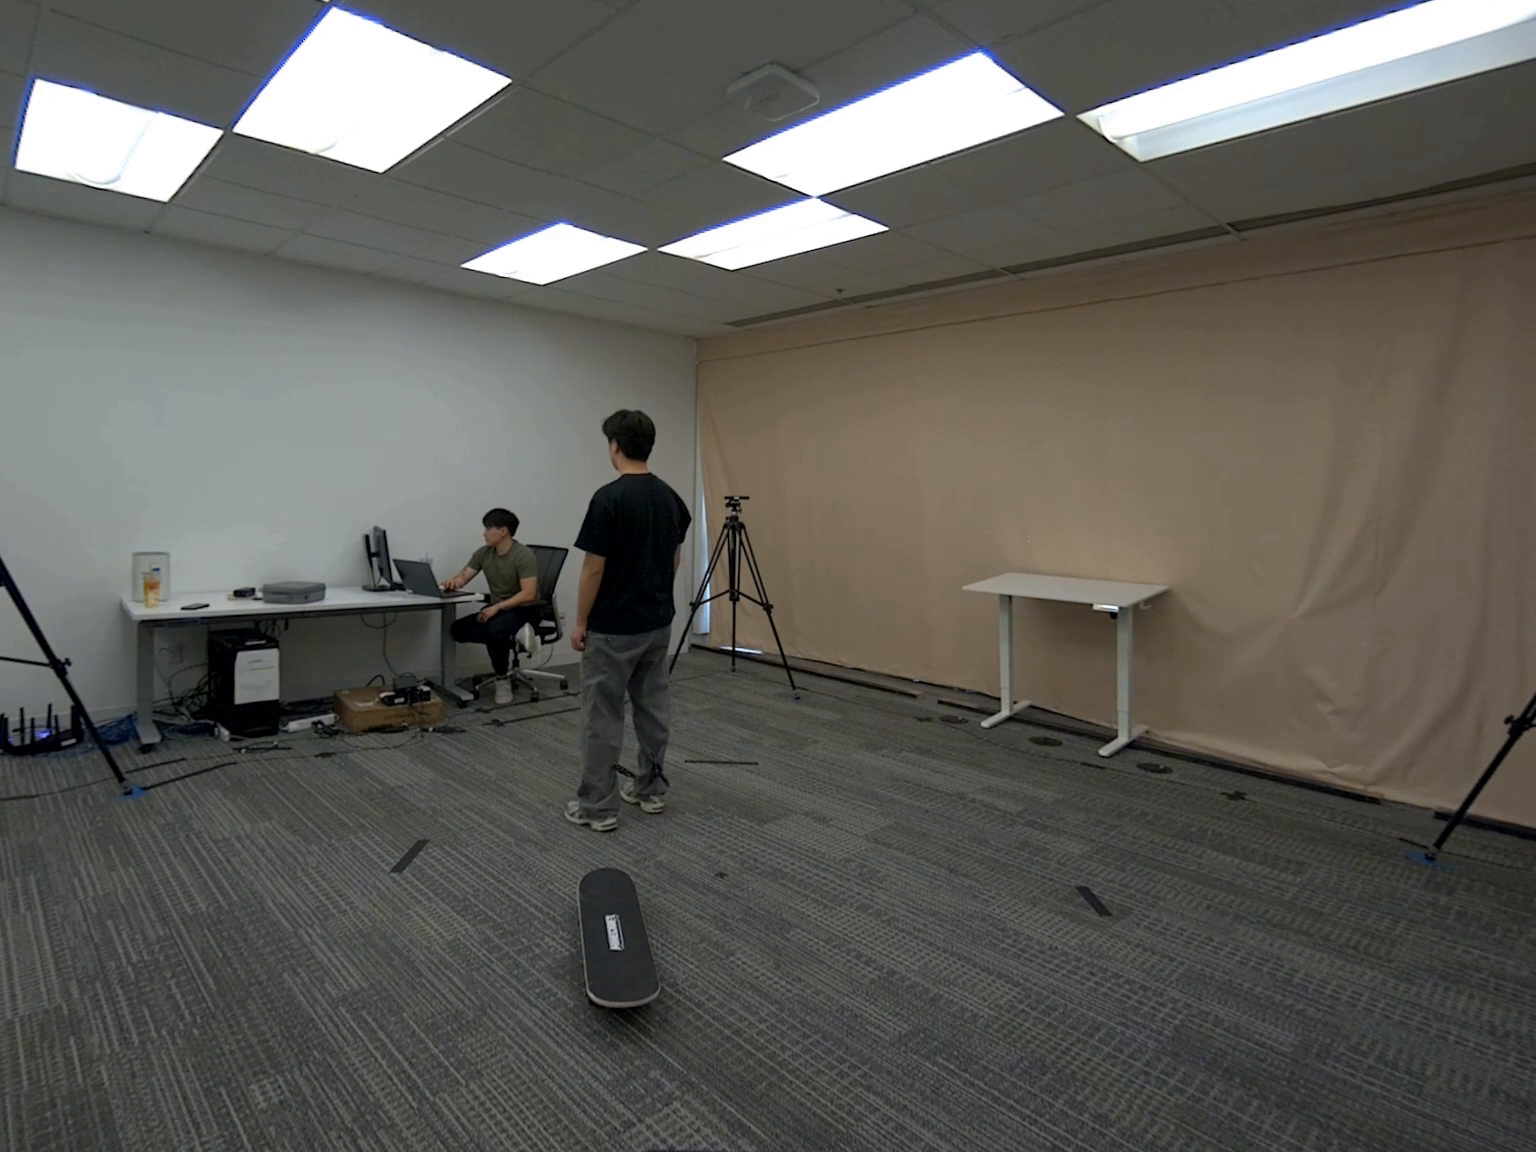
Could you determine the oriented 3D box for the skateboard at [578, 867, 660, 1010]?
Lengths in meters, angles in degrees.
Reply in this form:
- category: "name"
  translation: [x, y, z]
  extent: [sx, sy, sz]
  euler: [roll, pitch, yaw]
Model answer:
- category: "skateboard"
  translation: [-0.469, 1.096, 2.512]
  extent: [0.191, 0.110, 0.797]
  euler: [0, 6, -15]
